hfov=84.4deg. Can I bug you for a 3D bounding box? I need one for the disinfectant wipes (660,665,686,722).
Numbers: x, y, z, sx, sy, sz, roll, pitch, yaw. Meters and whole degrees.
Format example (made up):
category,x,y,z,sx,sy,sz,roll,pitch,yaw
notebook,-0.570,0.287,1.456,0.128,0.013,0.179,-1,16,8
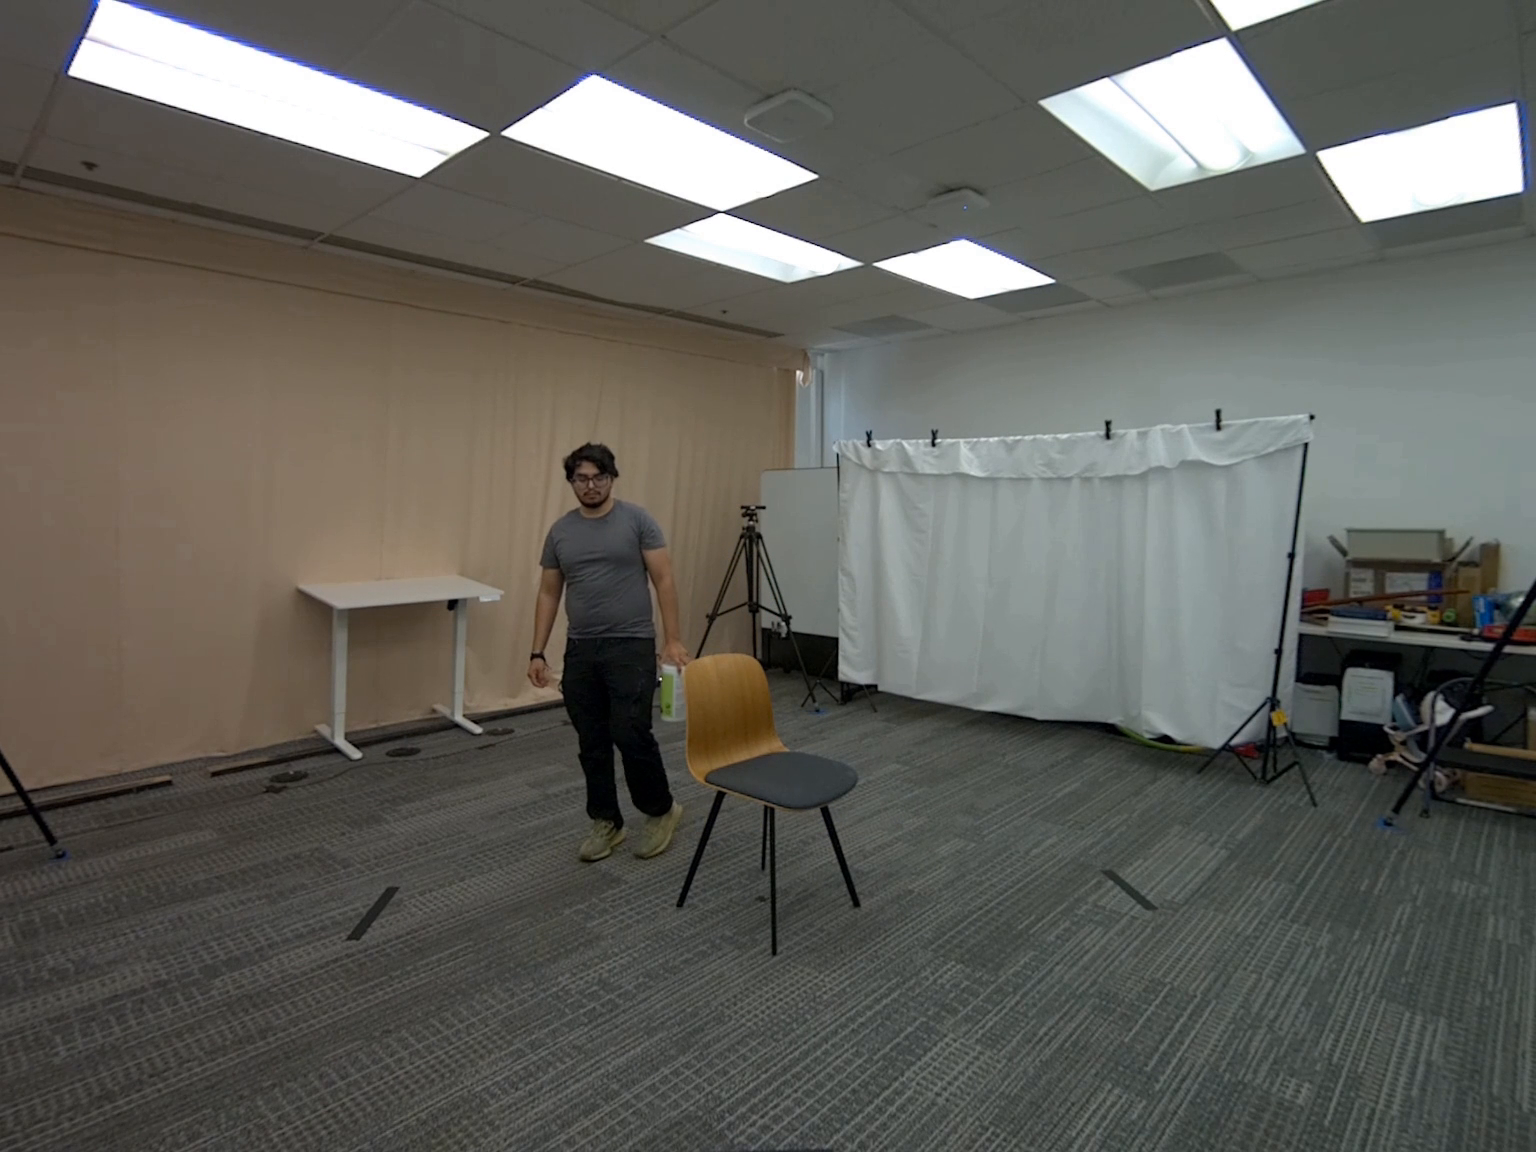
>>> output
category,x,y,z,sx,sy,sz,roll,pitch,yaw
disinfectant wipes,-0.367,0.456,3.269,0.117,0.217,0.118,2,5,-2
